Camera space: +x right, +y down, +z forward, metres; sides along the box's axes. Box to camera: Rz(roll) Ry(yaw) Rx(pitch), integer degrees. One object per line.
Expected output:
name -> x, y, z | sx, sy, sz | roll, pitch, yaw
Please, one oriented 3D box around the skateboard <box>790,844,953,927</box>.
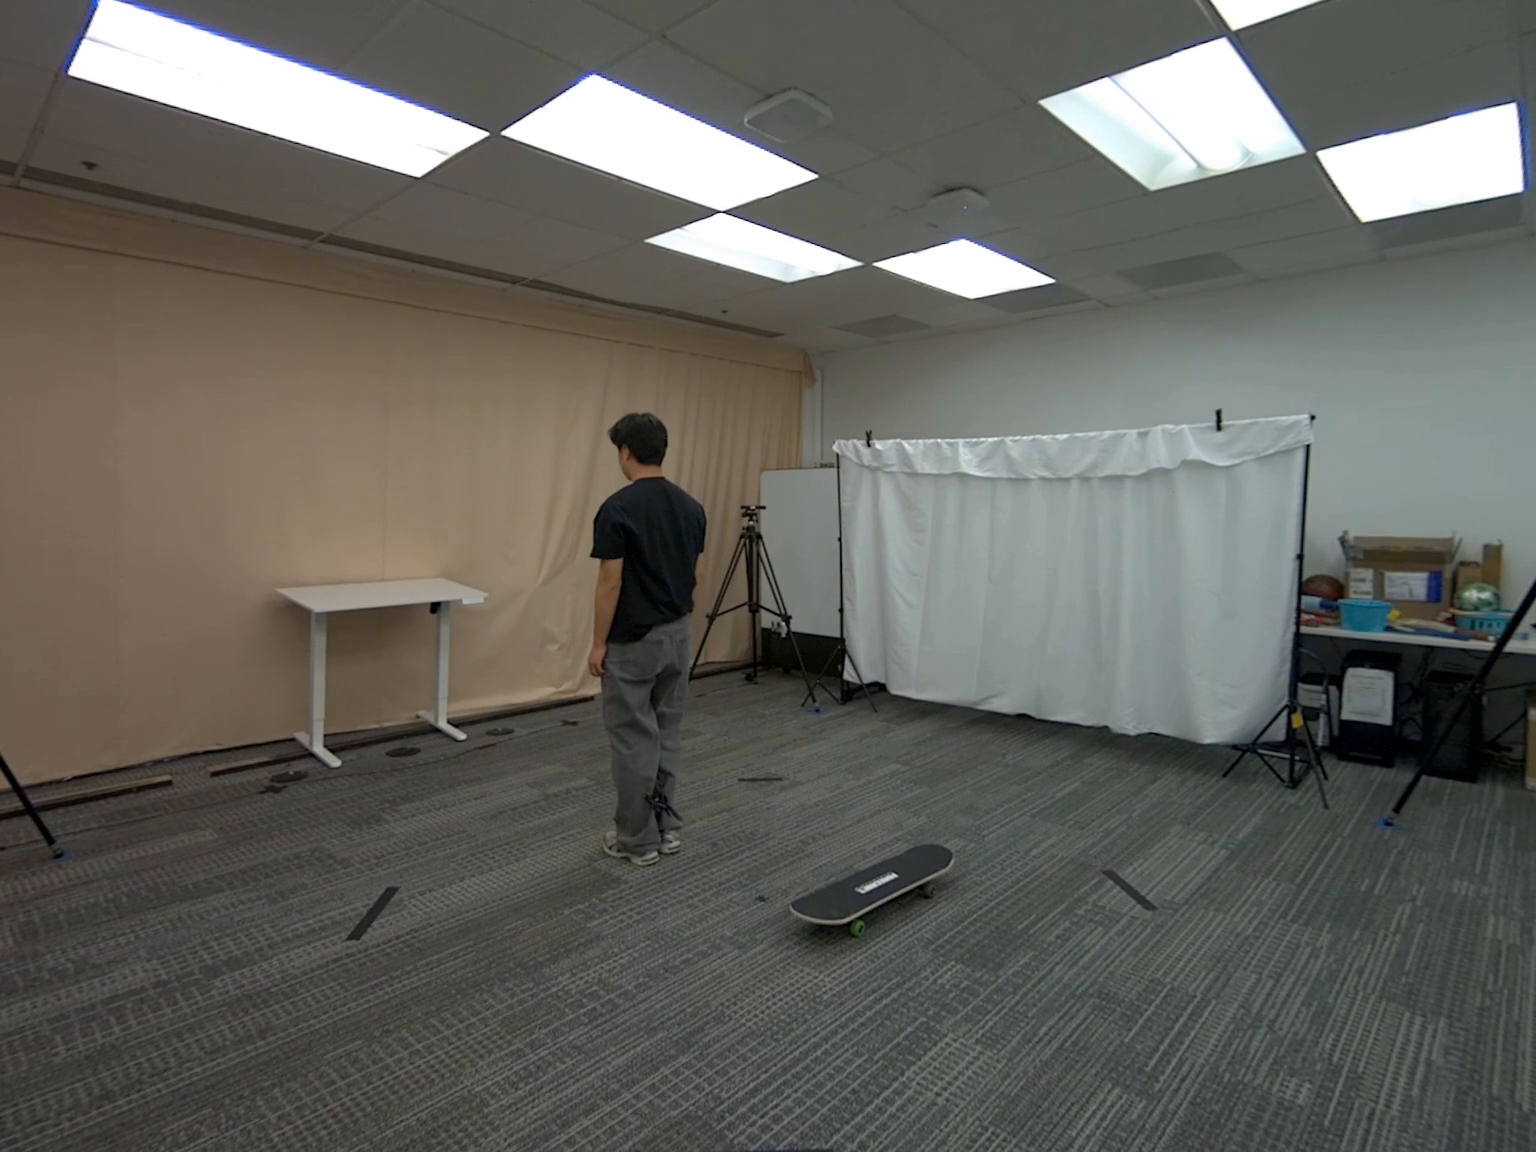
skateboard -> 0.378, 1.092, 2.908 | 0.762, 0.110, 0.200 | -5, 6, -42
